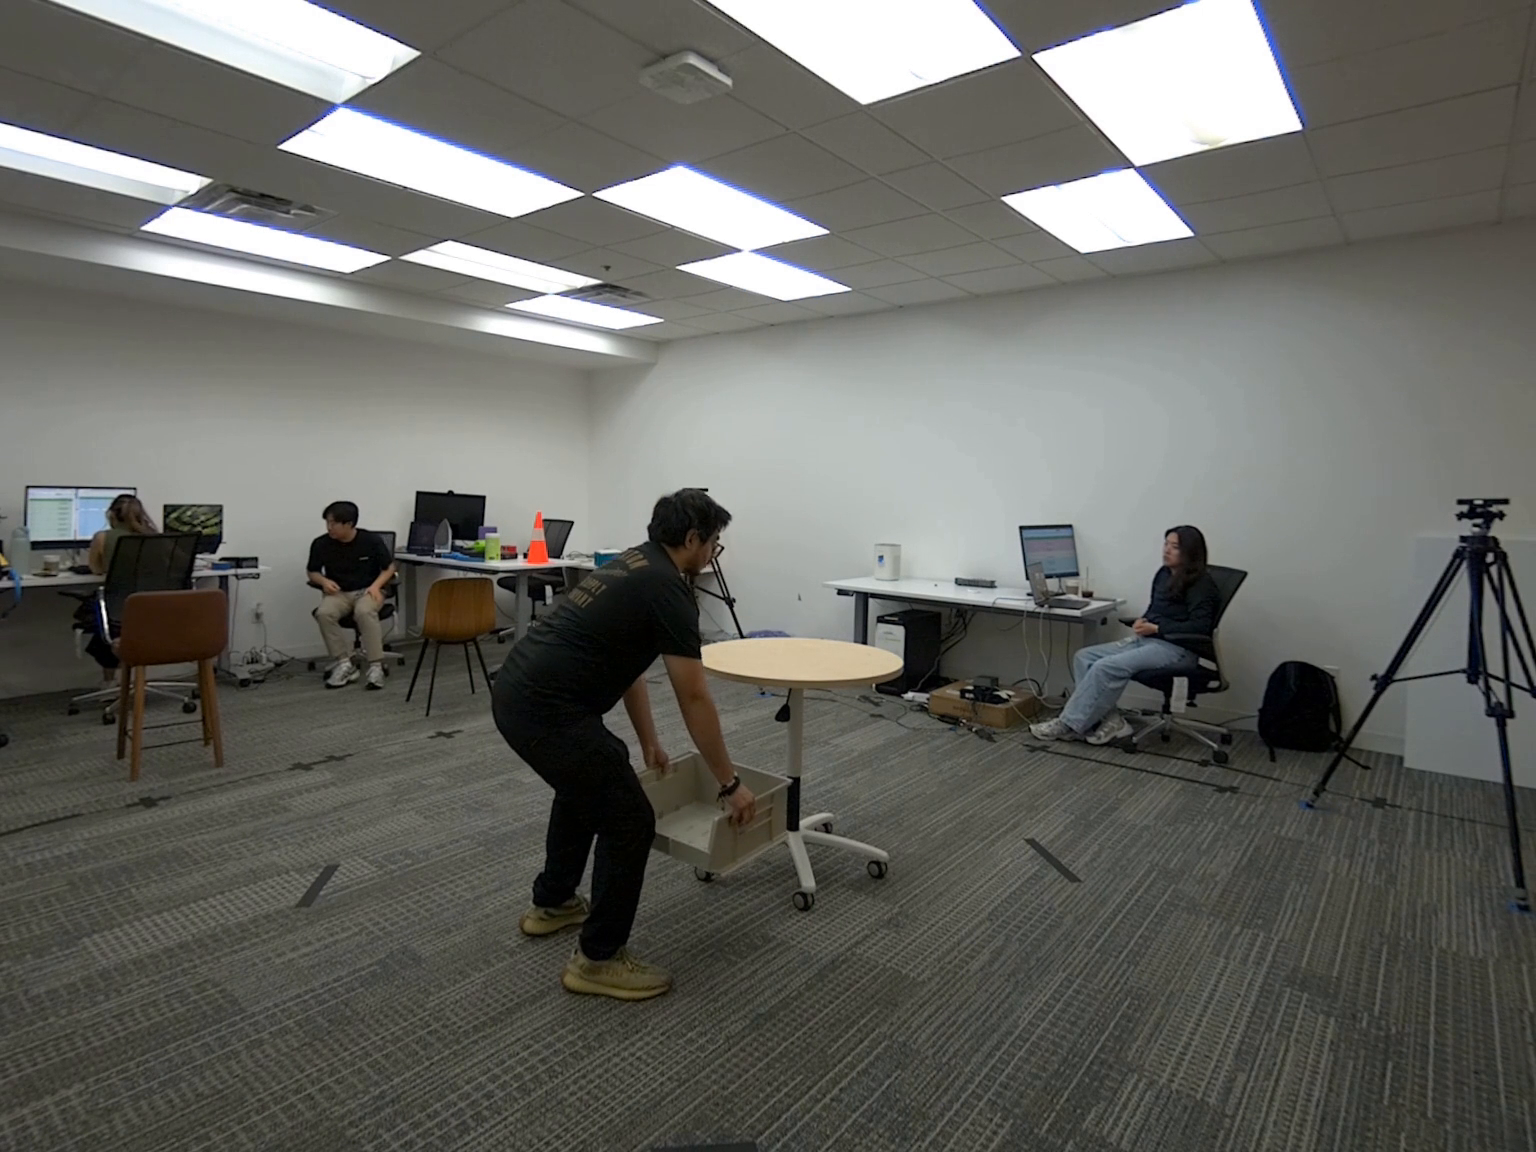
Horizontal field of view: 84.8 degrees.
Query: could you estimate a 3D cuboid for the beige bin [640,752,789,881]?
[{"bbox_3d":[-0.211,0.713,2.575,0.436,0.188,0.367,4,9,40],"label":"beige bin"}]
